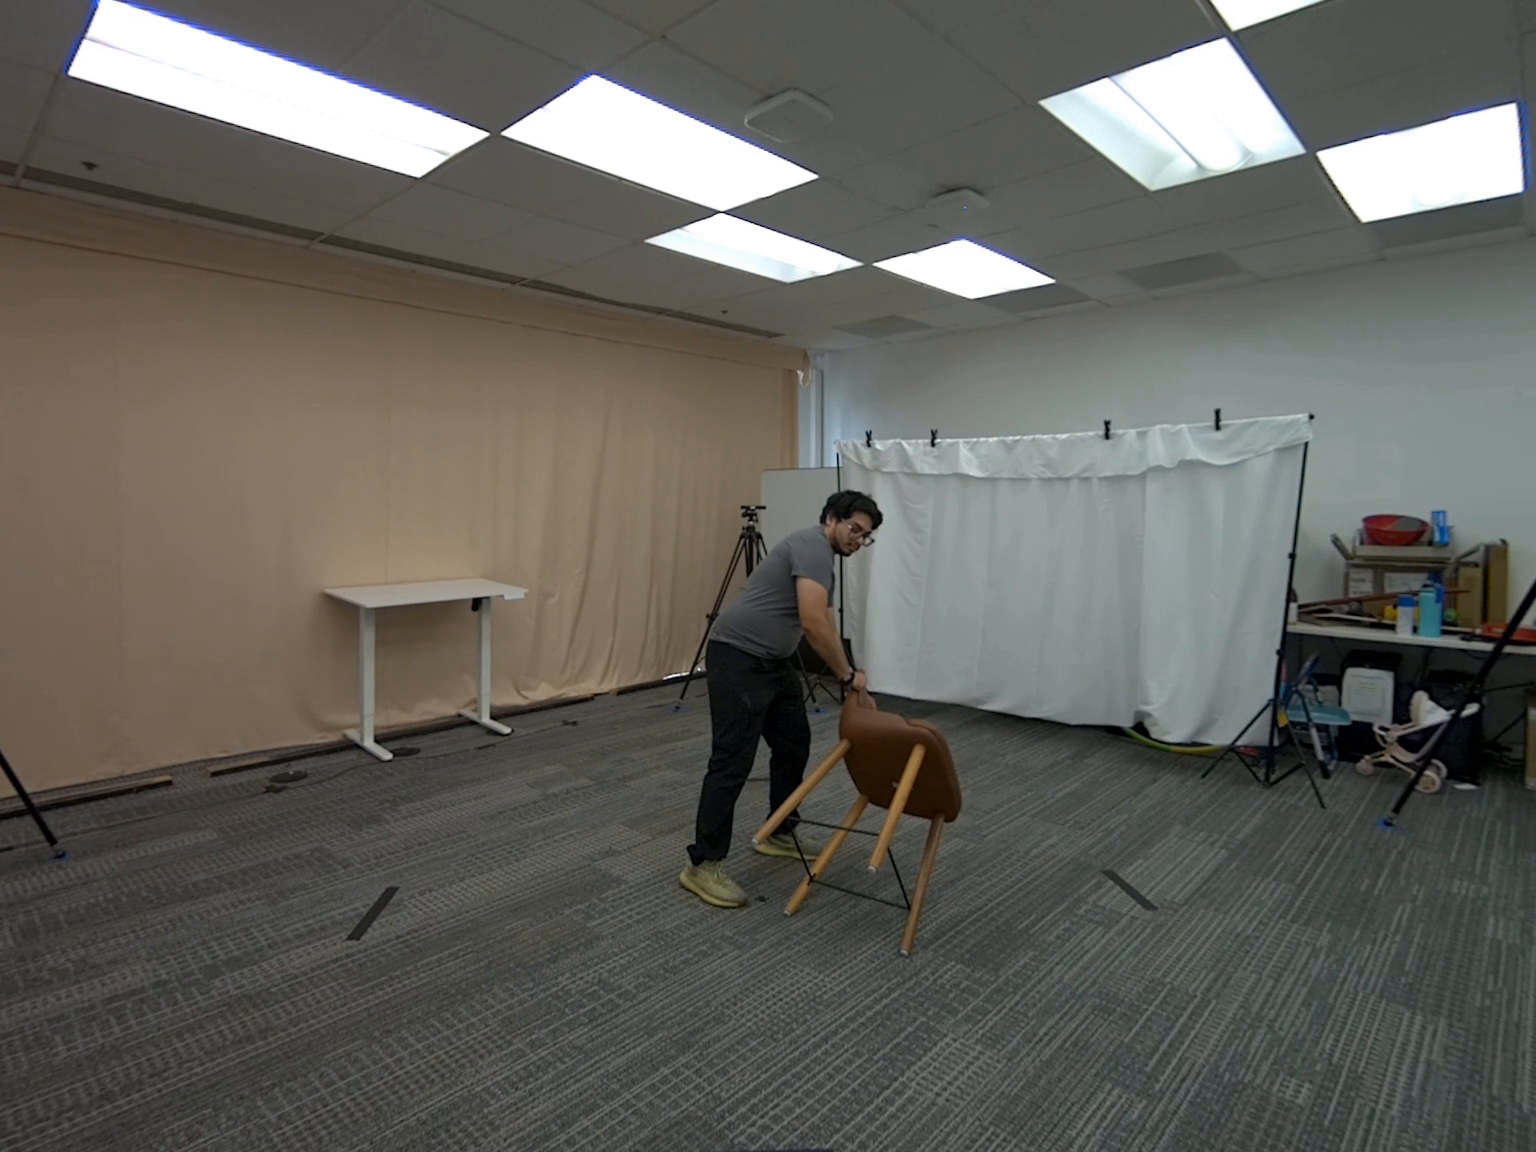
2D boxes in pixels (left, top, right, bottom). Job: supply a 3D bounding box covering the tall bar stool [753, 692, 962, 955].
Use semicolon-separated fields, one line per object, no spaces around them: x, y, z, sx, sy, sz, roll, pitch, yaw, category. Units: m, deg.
0.390;0.758;2.948;0.482;0.446;0.884;-2;33;34;tall bar stool
